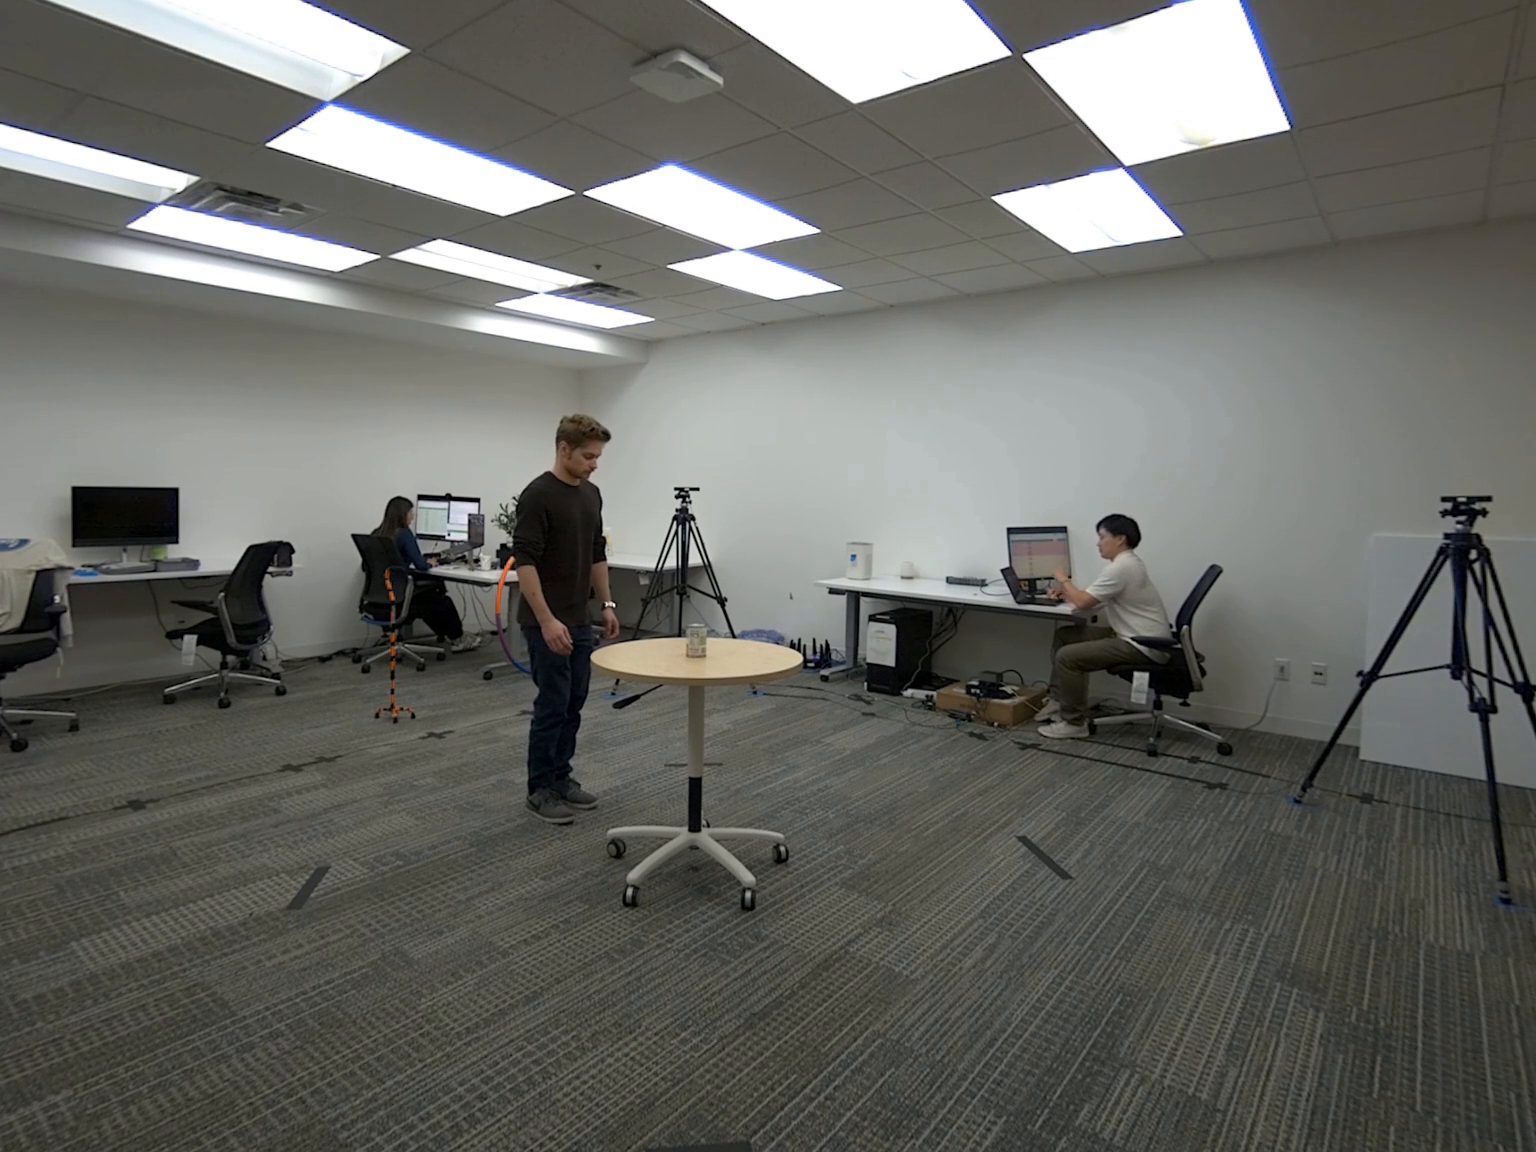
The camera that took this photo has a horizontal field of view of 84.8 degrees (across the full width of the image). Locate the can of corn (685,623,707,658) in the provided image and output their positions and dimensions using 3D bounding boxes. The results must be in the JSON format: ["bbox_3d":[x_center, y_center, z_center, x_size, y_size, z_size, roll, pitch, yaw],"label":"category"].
[{"bbox_3d":[-0.266,0.229,3.059,0.074,0.111,0.074,-2,3,-2],"label":"can of corn"}]
